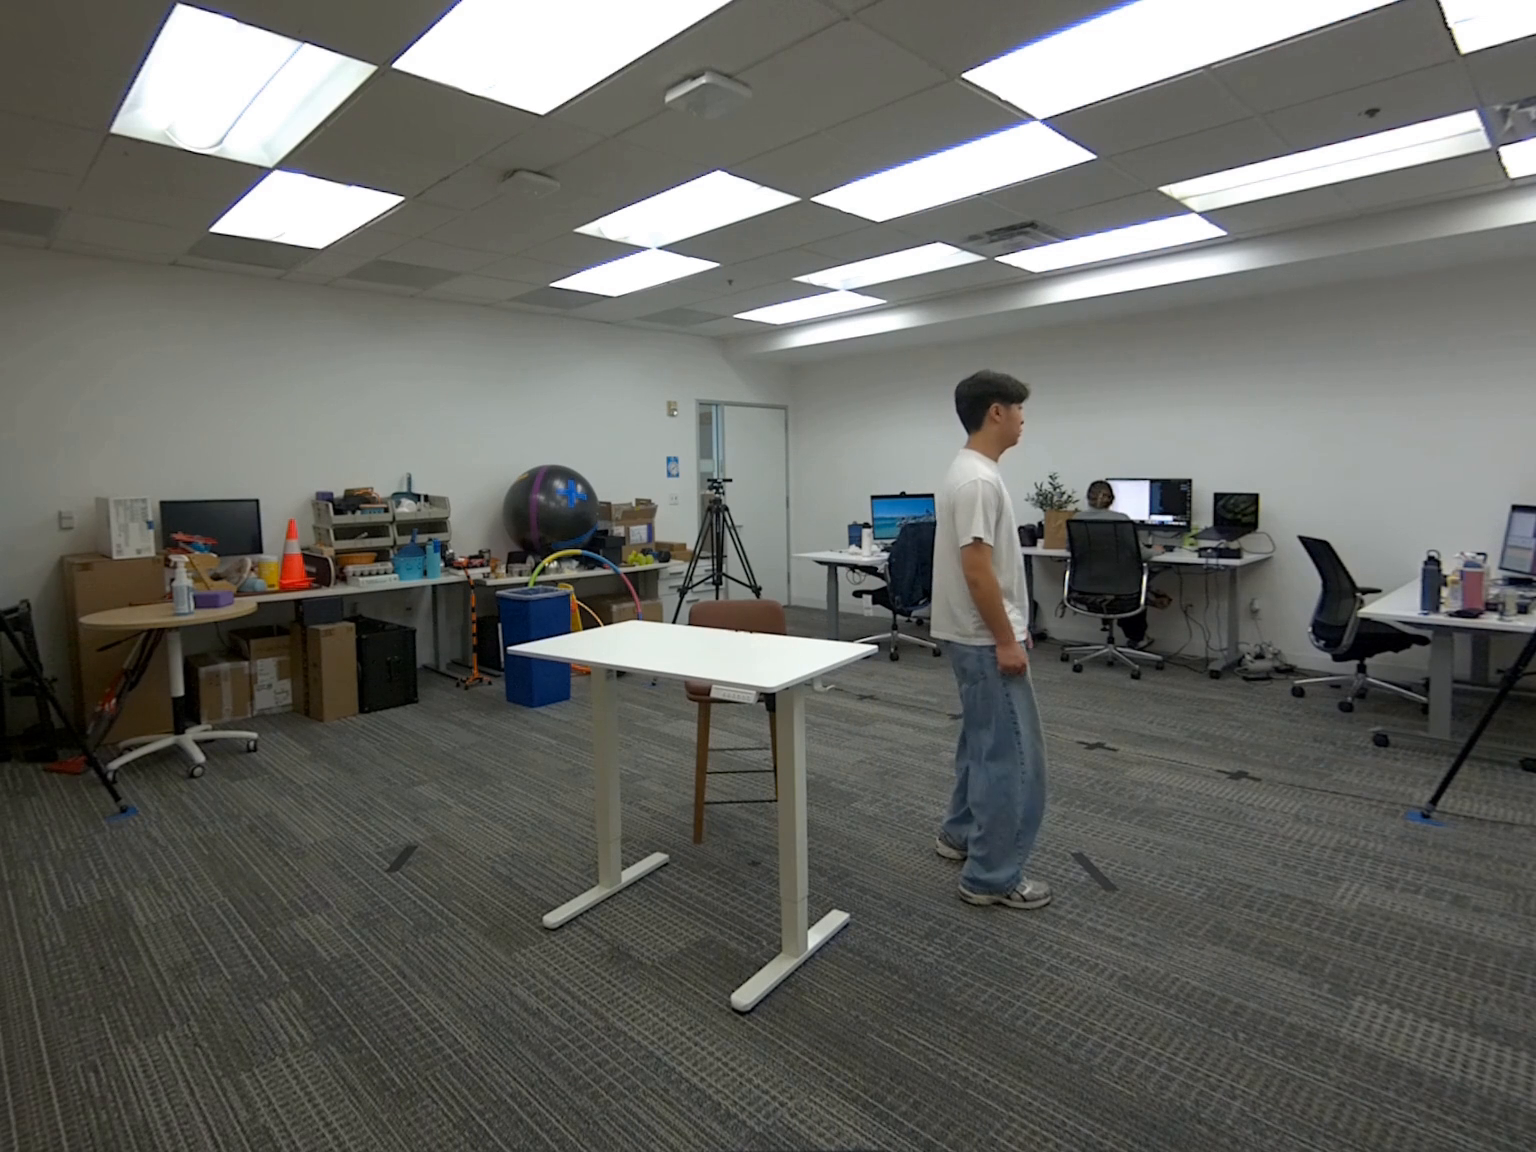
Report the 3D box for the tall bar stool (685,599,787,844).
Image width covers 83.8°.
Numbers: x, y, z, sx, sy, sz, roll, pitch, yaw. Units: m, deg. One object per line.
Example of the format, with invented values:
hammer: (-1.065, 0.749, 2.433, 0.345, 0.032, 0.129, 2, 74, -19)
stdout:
tall bar stool: (-0.102, 0.567, 3.493, 0.455, 0.888, 0.470, -1, 2, -5)
